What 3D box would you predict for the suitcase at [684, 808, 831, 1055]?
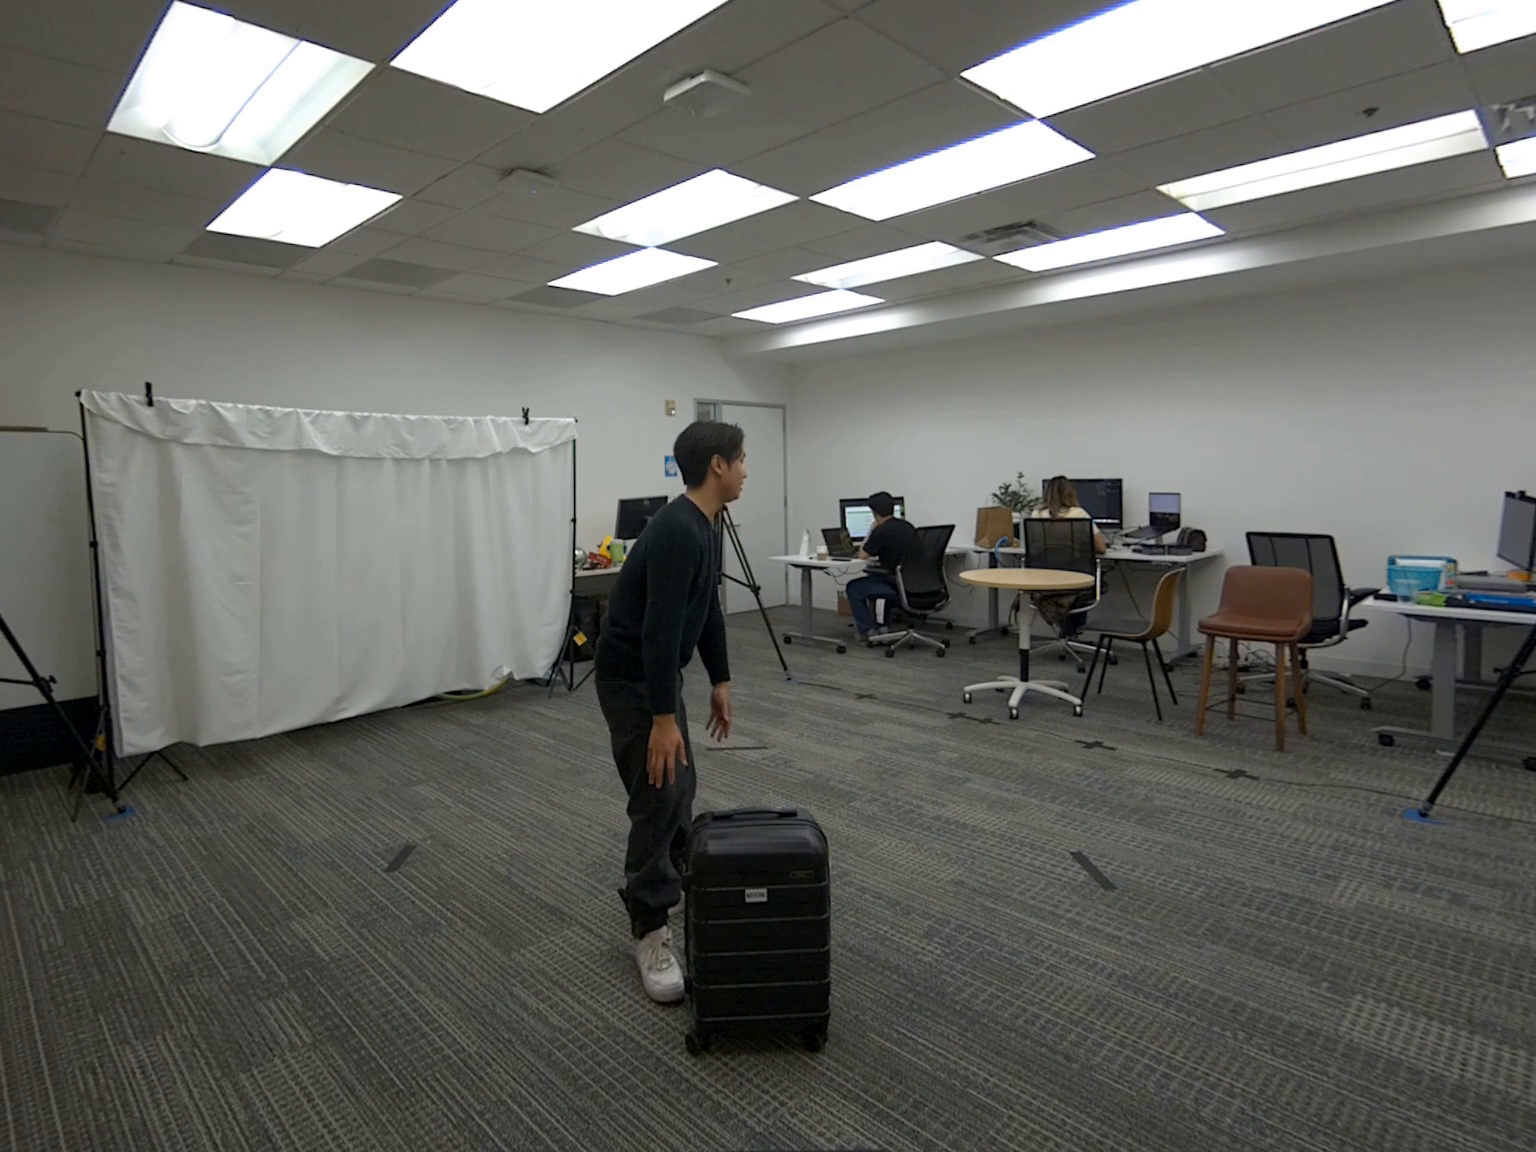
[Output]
[{"bbox_3d":[-0.018,0.876,2.166,0.374,0.547,0.250,-1,5,-4],"label":"suitcase"}]
